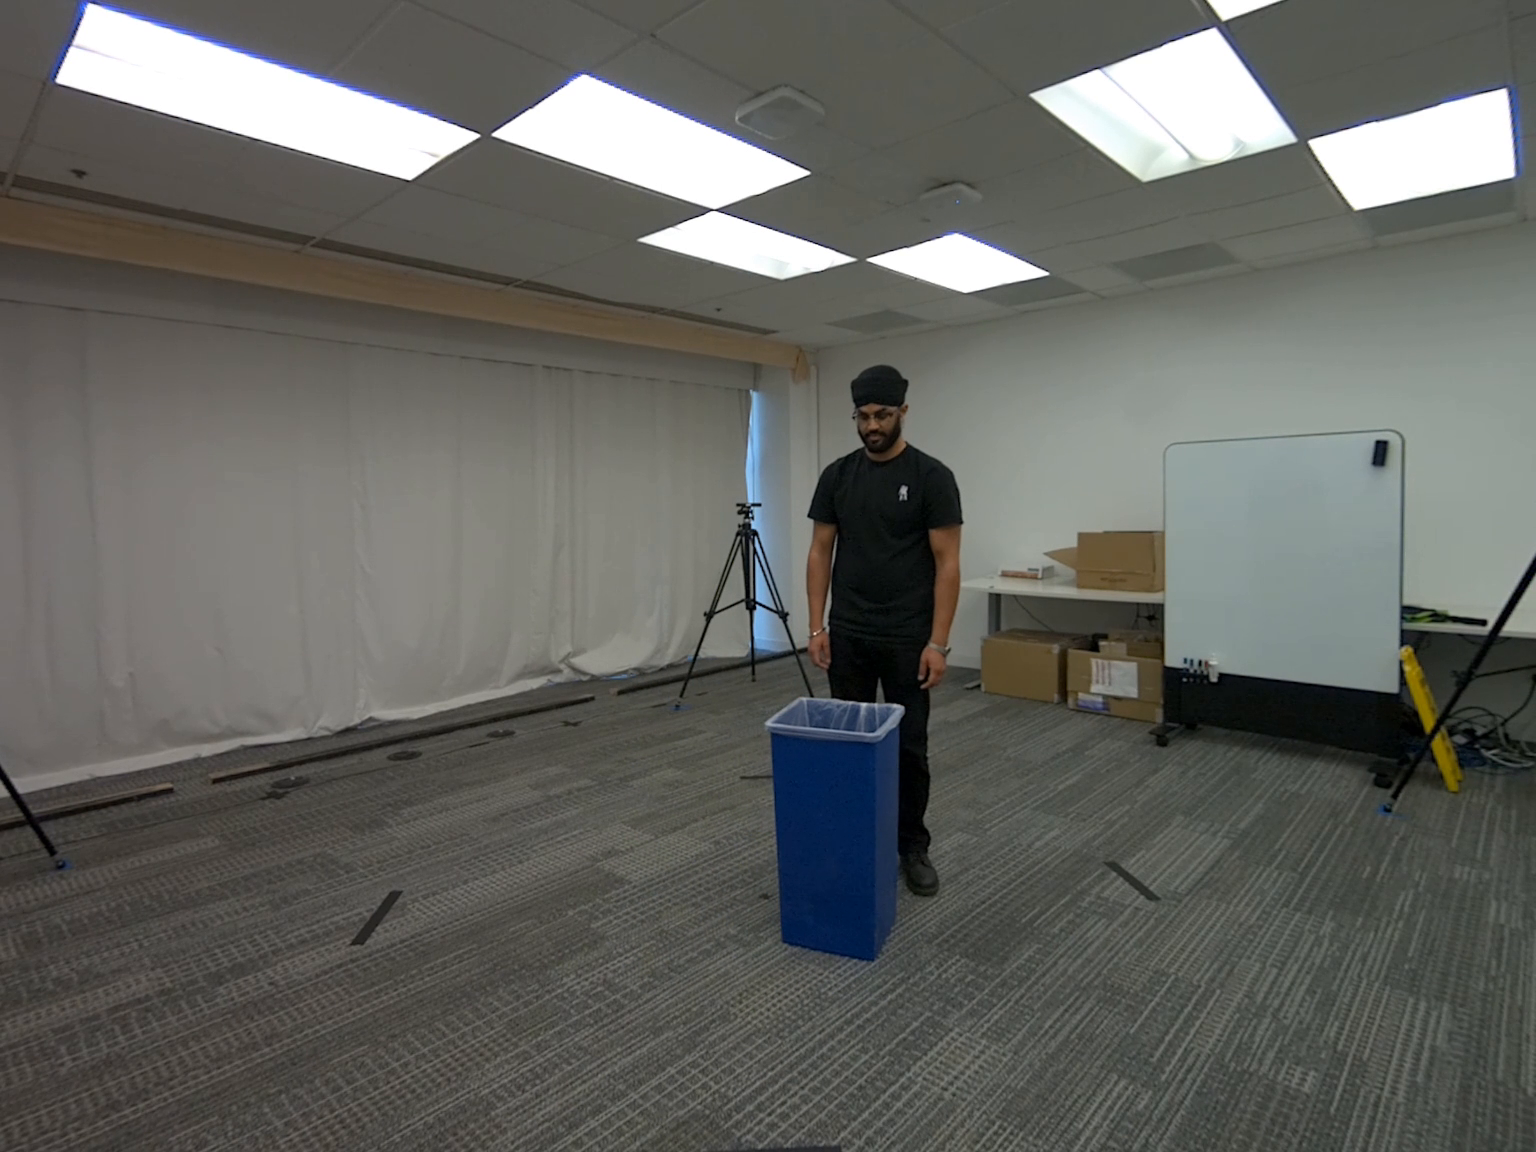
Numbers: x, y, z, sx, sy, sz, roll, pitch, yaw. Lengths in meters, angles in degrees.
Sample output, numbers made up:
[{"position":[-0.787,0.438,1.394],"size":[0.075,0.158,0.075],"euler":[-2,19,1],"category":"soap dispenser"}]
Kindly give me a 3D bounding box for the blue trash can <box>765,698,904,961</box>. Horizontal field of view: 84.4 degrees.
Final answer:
[{"position":[0.225,0.797,2.723],"size":[0.387,0.711,0.366],"euler":[0,5,23],"category":"blue trash can"}]
